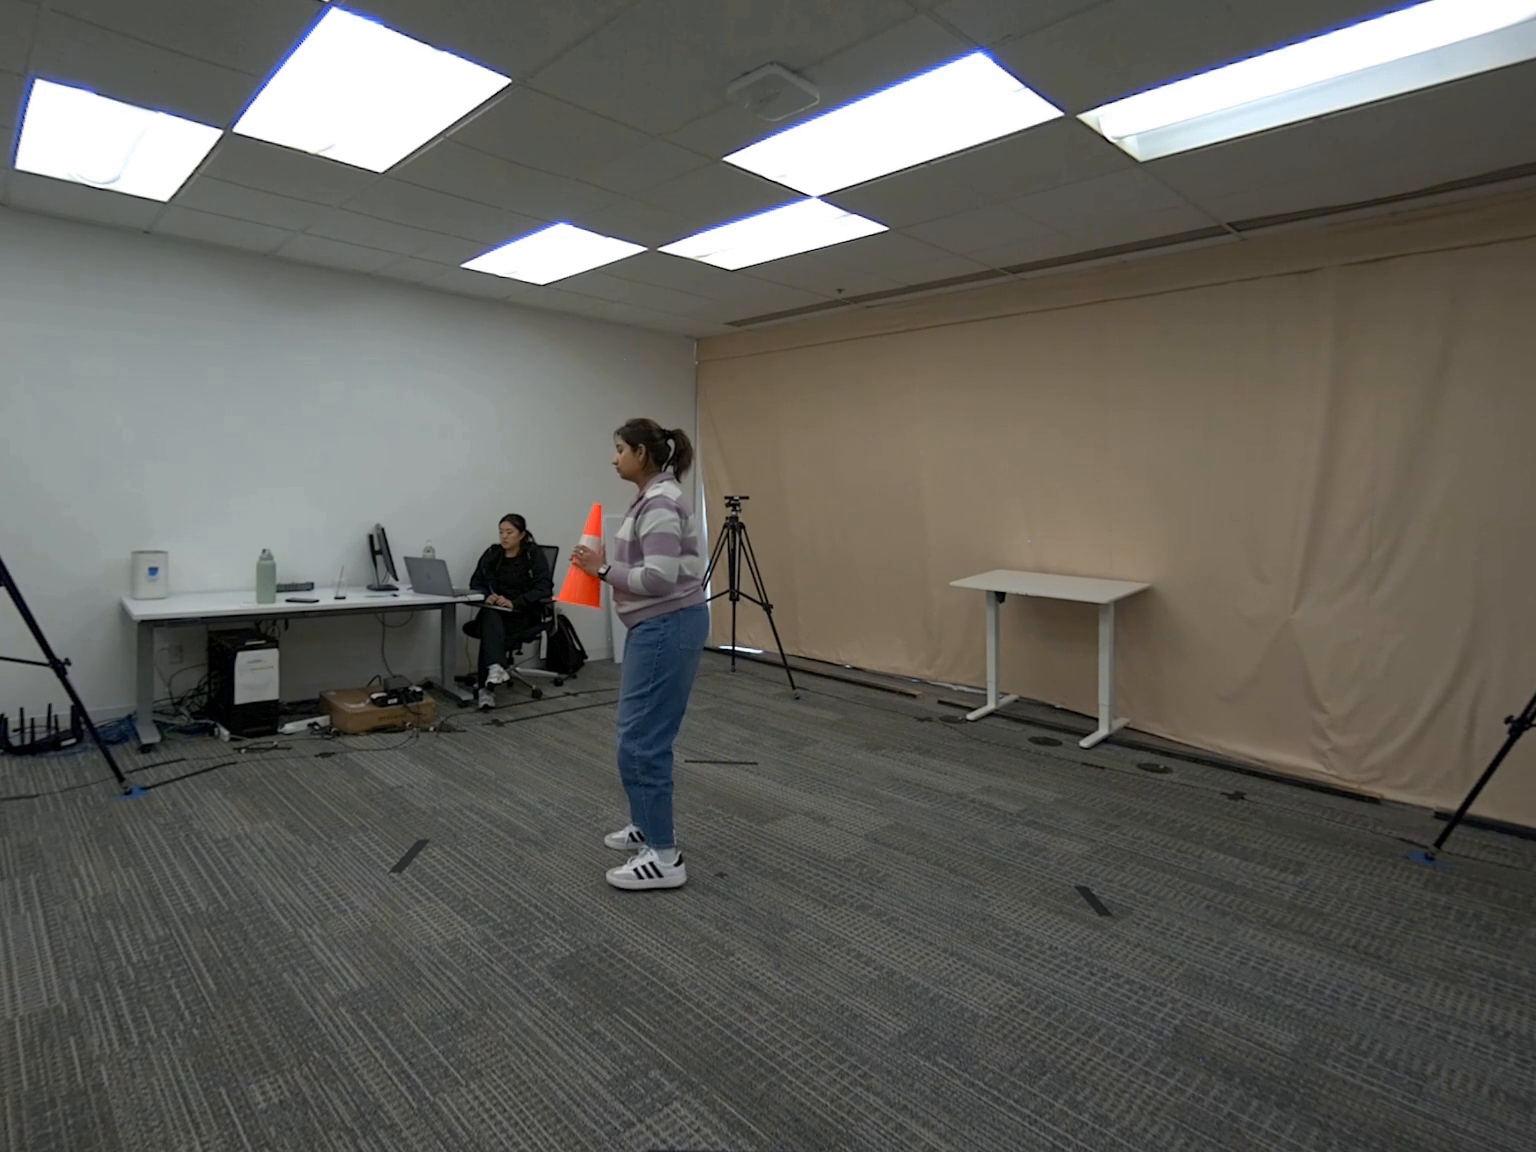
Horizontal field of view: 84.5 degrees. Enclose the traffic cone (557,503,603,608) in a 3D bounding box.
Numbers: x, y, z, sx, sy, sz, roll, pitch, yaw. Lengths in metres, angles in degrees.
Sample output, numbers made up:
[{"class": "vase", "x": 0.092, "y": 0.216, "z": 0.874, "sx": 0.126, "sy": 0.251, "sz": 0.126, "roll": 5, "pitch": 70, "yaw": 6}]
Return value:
[{"class": "traffic cone", "x": -0.671, "y": -0.085, "z": 3.168, "sx": 0.201, "sy": 0.384, "sz": 0.207, "roll": 12, "pitch": -3, "yaw": -12}]
